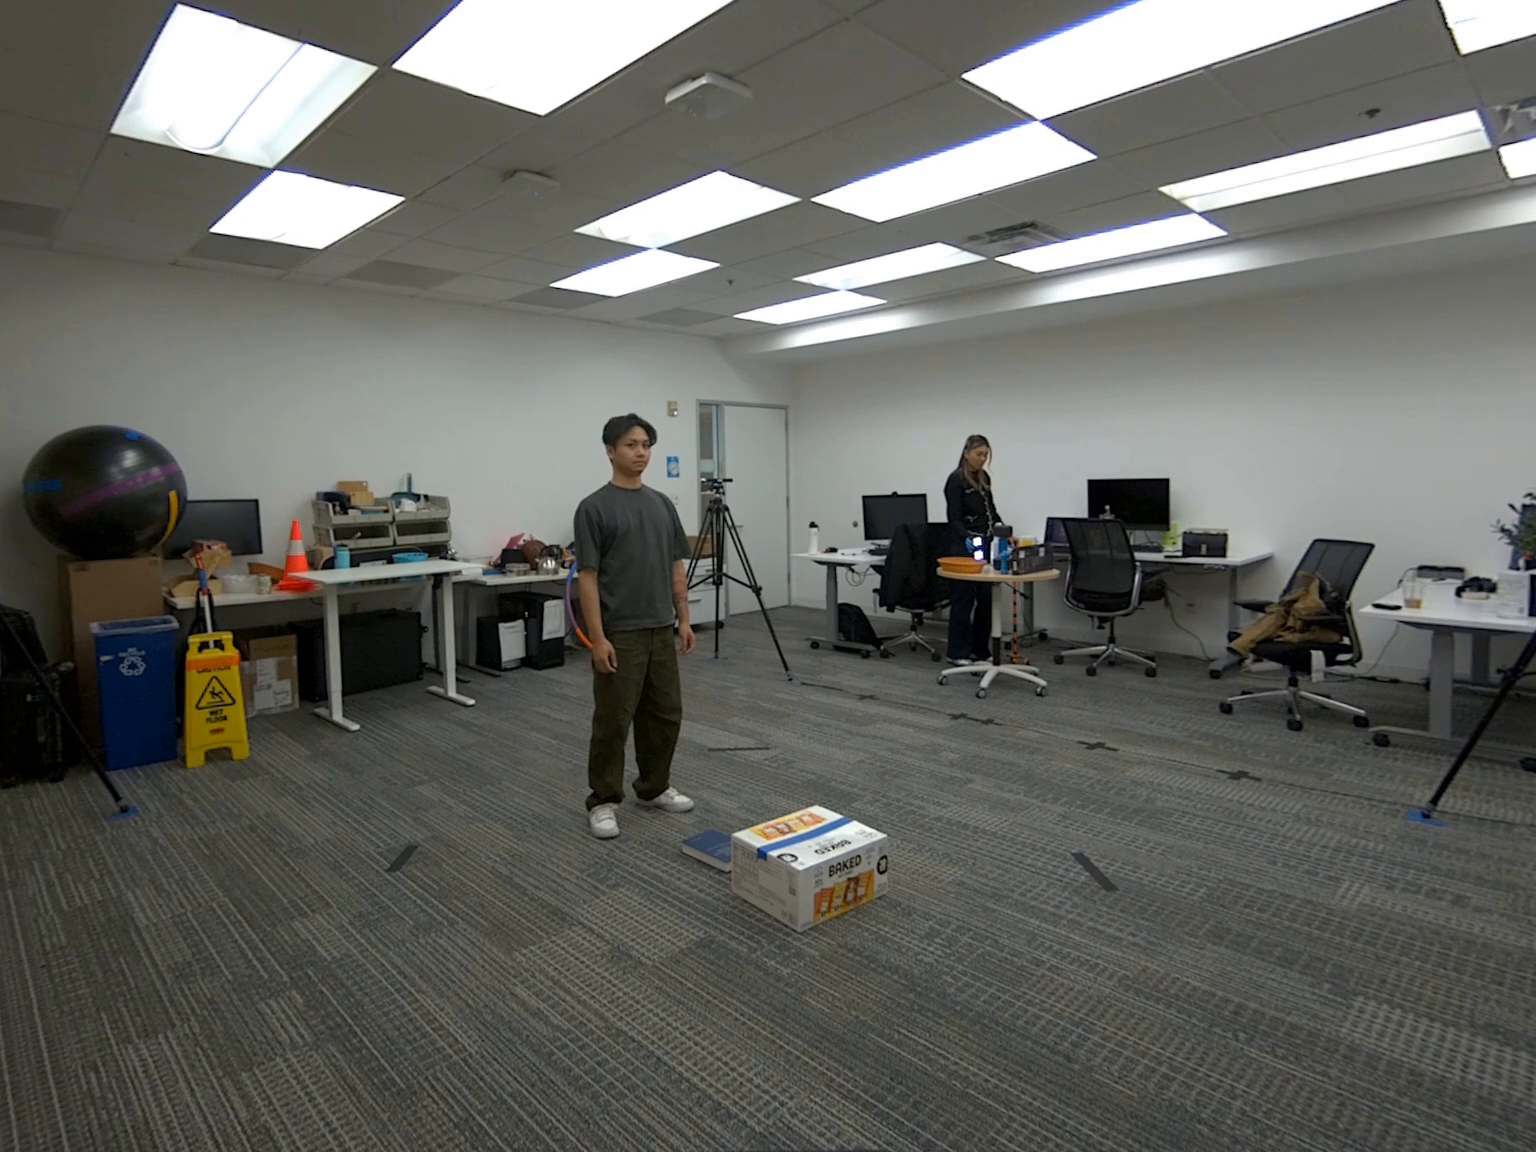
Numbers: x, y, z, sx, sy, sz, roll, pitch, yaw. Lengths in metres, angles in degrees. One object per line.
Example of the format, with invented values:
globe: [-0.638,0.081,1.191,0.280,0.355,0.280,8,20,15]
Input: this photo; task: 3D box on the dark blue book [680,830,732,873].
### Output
dark blue book: [-0.178,1.014,3.169,0.253,0.045,0.159,6,9,44]
